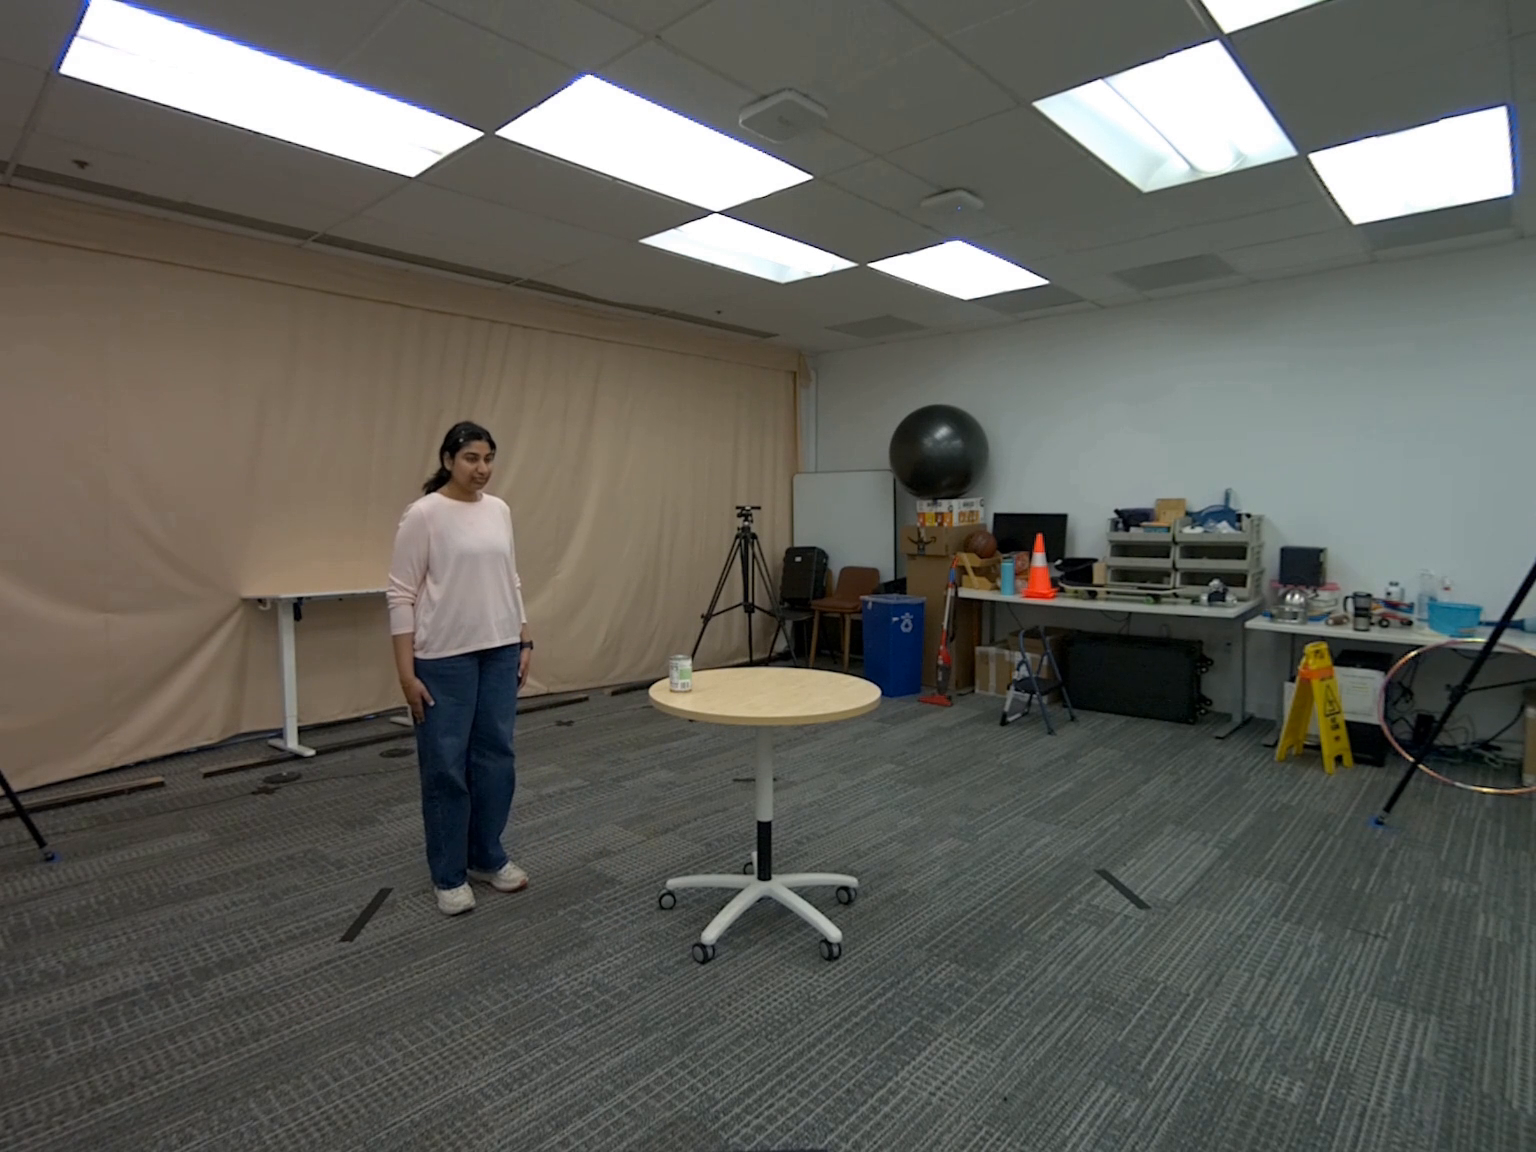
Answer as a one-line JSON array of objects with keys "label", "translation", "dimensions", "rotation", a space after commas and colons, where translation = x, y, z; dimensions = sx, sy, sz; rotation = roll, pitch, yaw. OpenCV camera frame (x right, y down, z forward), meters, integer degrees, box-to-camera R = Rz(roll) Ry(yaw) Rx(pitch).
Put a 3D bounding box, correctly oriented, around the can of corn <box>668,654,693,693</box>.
[{"label": "can of corn", "translation": [-0.287, 0.323, 2.773], "dimensions": [0.074, 0.111, 0.074], "rotation": [0, 1, -2]}]
